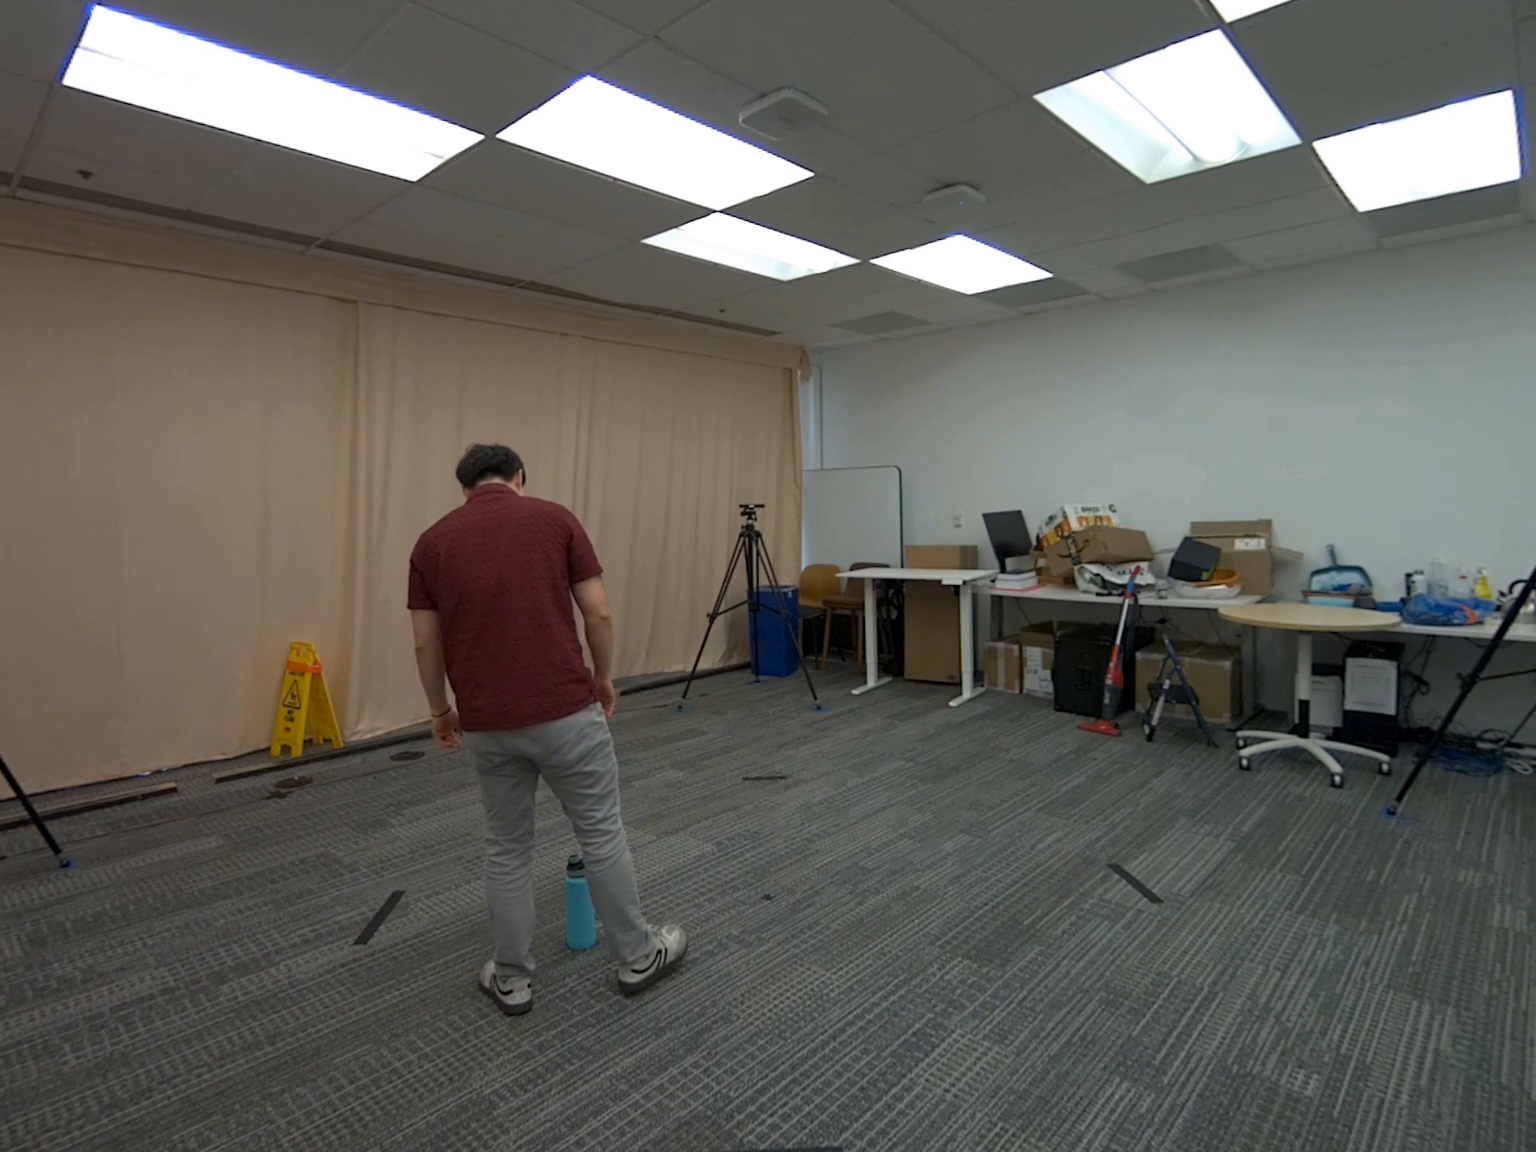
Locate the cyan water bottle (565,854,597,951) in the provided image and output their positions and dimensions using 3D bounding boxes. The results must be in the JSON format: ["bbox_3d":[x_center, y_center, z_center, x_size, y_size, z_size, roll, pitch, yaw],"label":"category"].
[{"bbox_3d":[-0.598,1.039,2.685,0.092,0.283,0.092,-1,2,-2],"label":"cyan water bottle"}]
